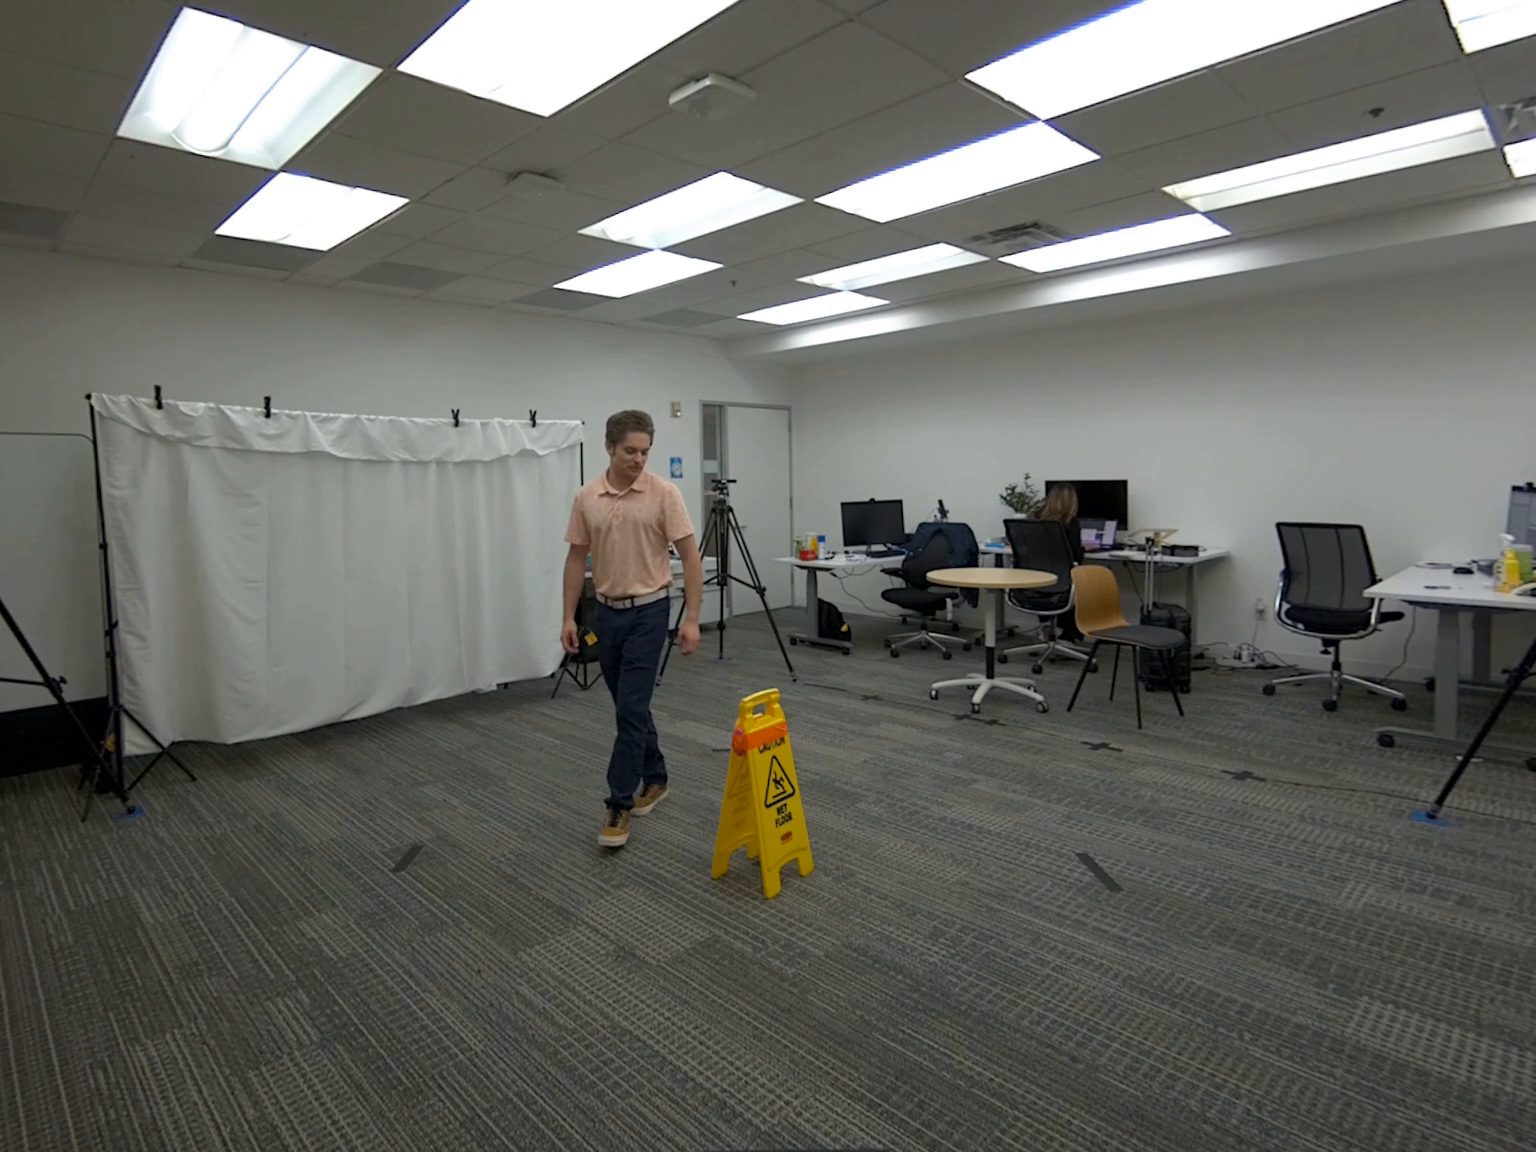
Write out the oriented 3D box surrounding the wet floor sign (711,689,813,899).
[{"bbox_3d":[-0.024,0.732,3.006,0.298,0.644,0.275,2,4,38],"label":"wet floor sign"}]
